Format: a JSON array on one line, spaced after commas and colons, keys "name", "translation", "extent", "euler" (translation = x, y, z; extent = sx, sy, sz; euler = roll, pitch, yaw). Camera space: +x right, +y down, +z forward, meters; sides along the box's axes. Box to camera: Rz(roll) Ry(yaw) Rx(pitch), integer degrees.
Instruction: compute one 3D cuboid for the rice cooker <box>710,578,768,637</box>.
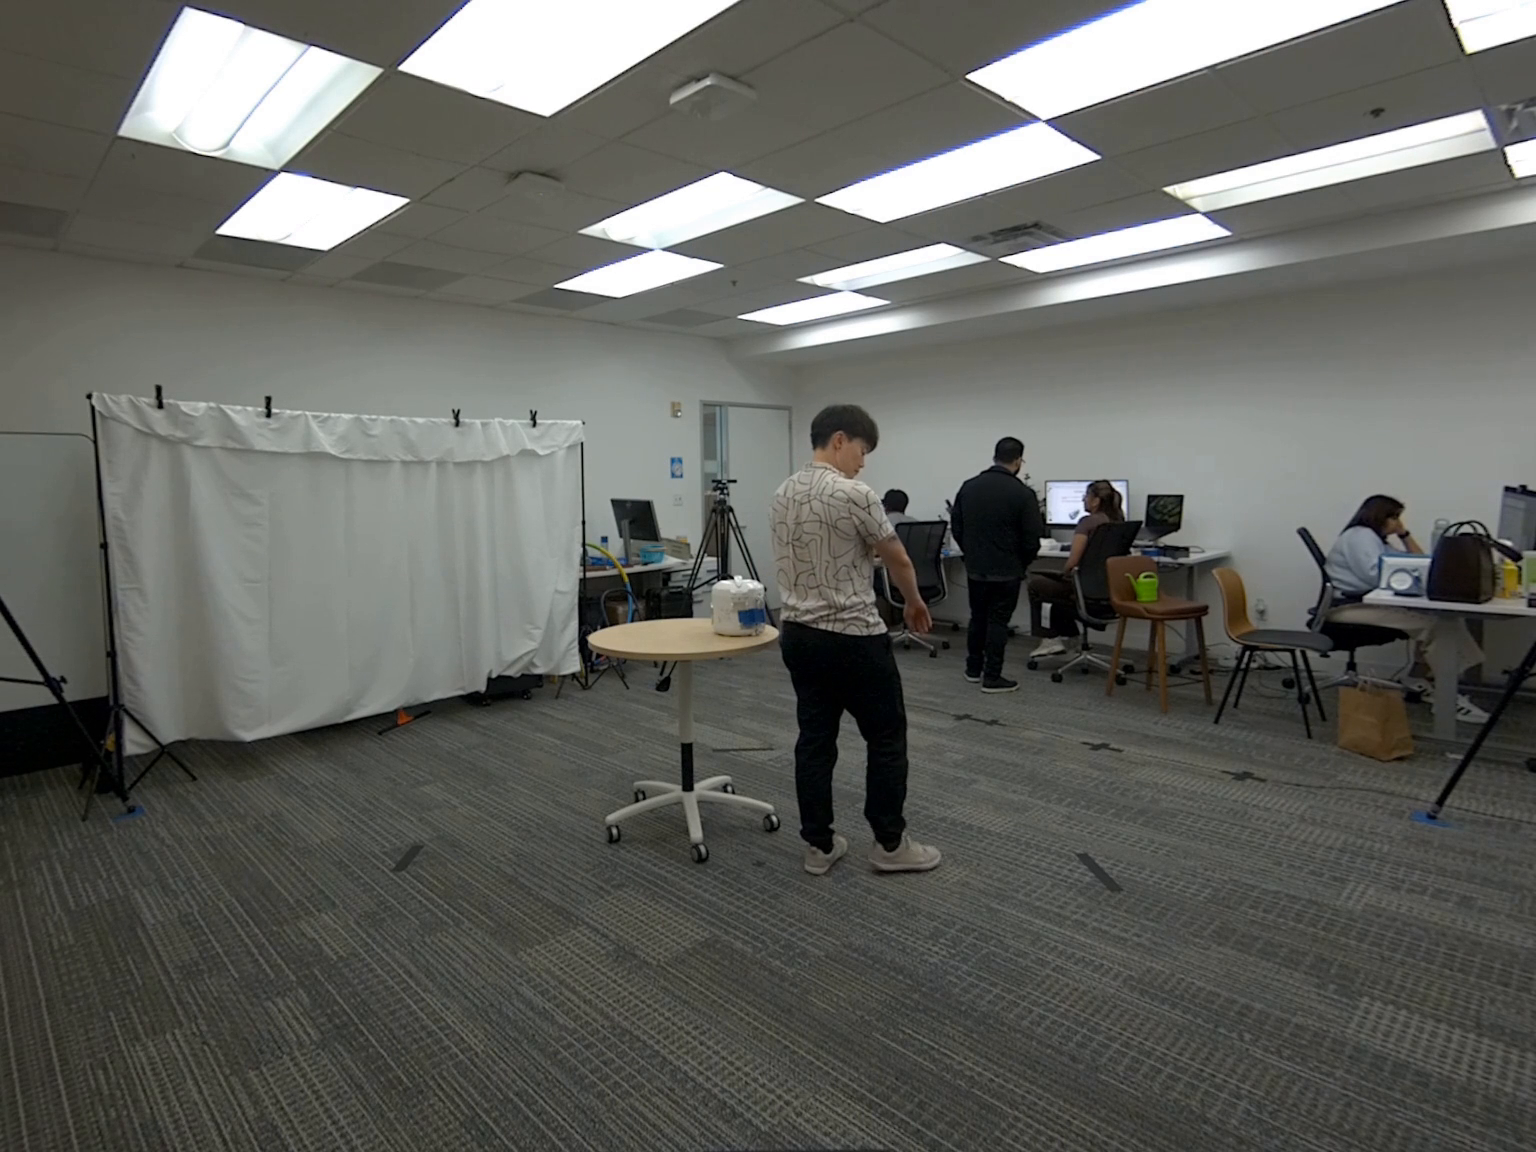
[{"name": "rice cooker", "translation": [-0.122, 0.112, 3.426], "extent": [0.217, 0.232, 0.222], "euler": [-1, 5, -2]}]
